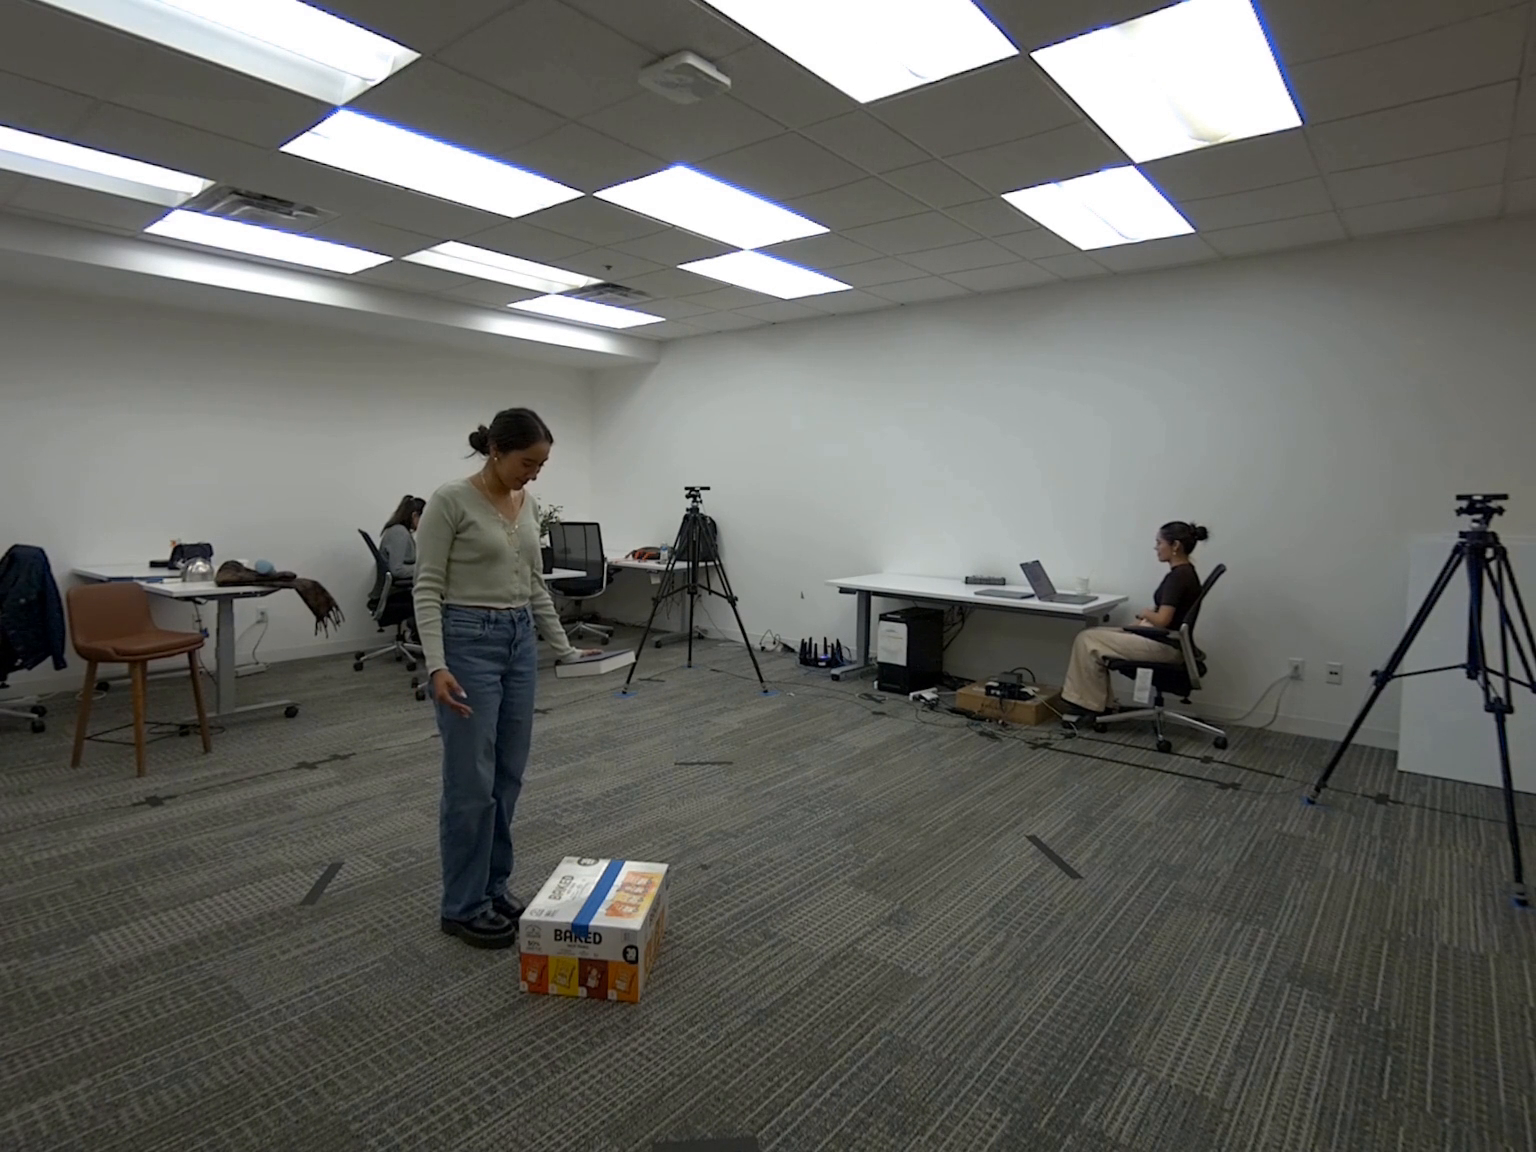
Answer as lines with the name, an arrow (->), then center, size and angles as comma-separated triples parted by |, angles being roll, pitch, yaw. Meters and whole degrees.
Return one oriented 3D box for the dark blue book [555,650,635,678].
dark blue book -> -0.565, 0.286, 2.682 | 0.166, 0.045, 0.241 | -9, 1, 15
